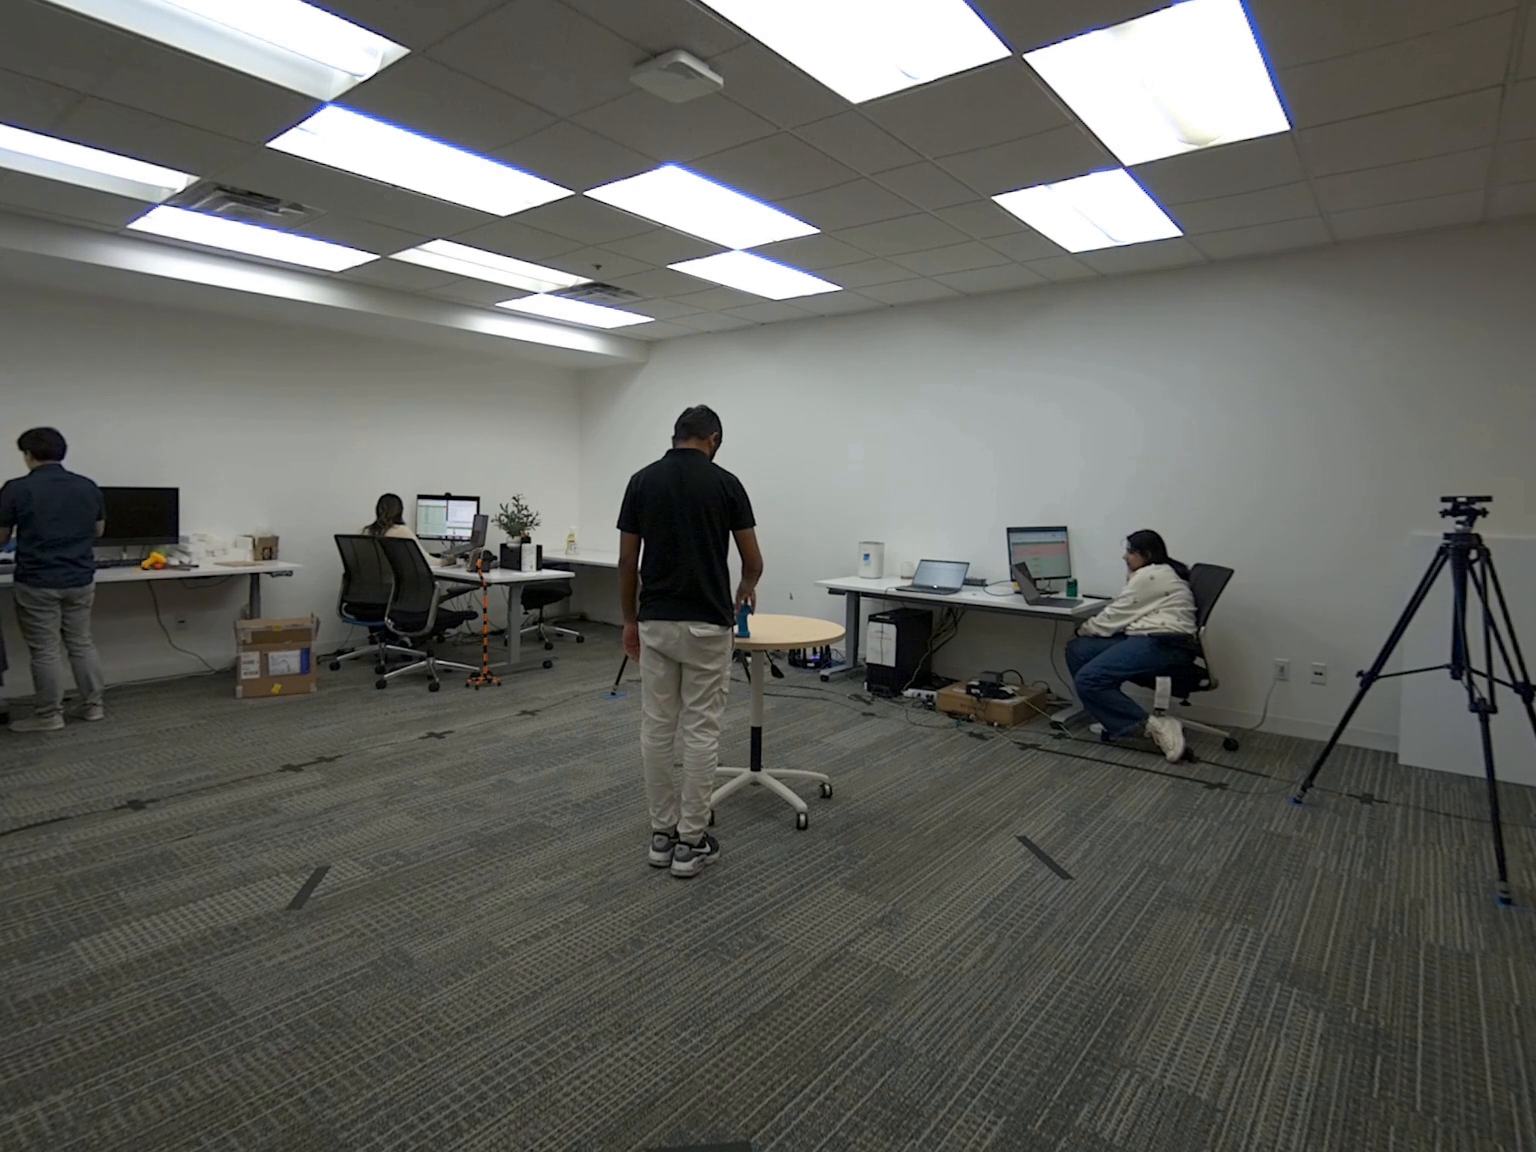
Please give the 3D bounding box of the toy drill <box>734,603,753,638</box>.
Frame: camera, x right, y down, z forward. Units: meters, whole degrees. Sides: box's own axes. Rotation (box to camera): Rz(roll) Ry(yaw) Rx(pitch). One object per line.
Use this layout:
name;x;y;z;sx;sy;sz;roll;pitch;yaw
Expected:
toy drill;-0.155;0.178;3.509;0.171;0.145;0.061;1;5;8
